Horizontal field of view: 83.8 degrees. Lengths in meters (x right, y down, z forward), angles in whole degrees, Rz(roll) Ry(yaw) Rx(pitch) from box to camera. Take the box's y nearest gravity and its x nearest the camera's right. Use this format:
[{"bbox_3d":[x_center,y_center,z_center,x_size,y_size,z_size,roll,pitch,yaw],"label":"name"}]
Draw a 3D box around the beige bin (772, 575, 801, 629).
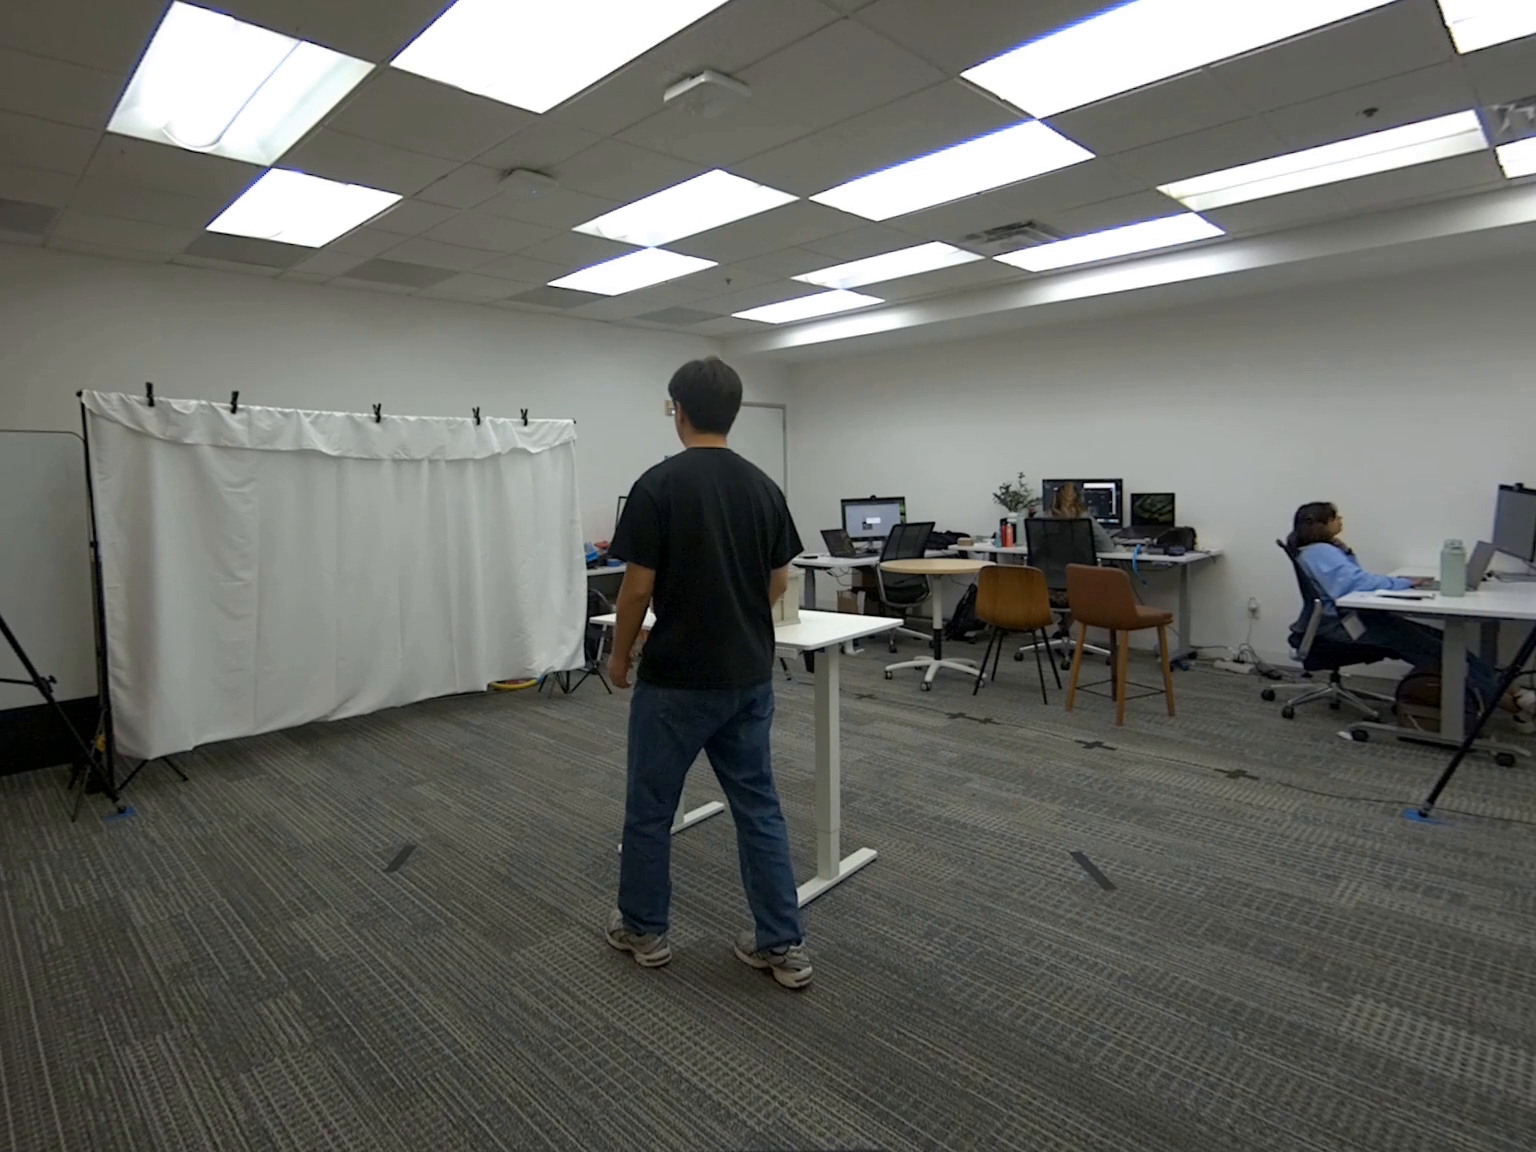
[{"bbox_3d":[-0.143,0.077,3.045,0.367,0.188,0.435,-4,6,-41],"label":"beige bin"}]
